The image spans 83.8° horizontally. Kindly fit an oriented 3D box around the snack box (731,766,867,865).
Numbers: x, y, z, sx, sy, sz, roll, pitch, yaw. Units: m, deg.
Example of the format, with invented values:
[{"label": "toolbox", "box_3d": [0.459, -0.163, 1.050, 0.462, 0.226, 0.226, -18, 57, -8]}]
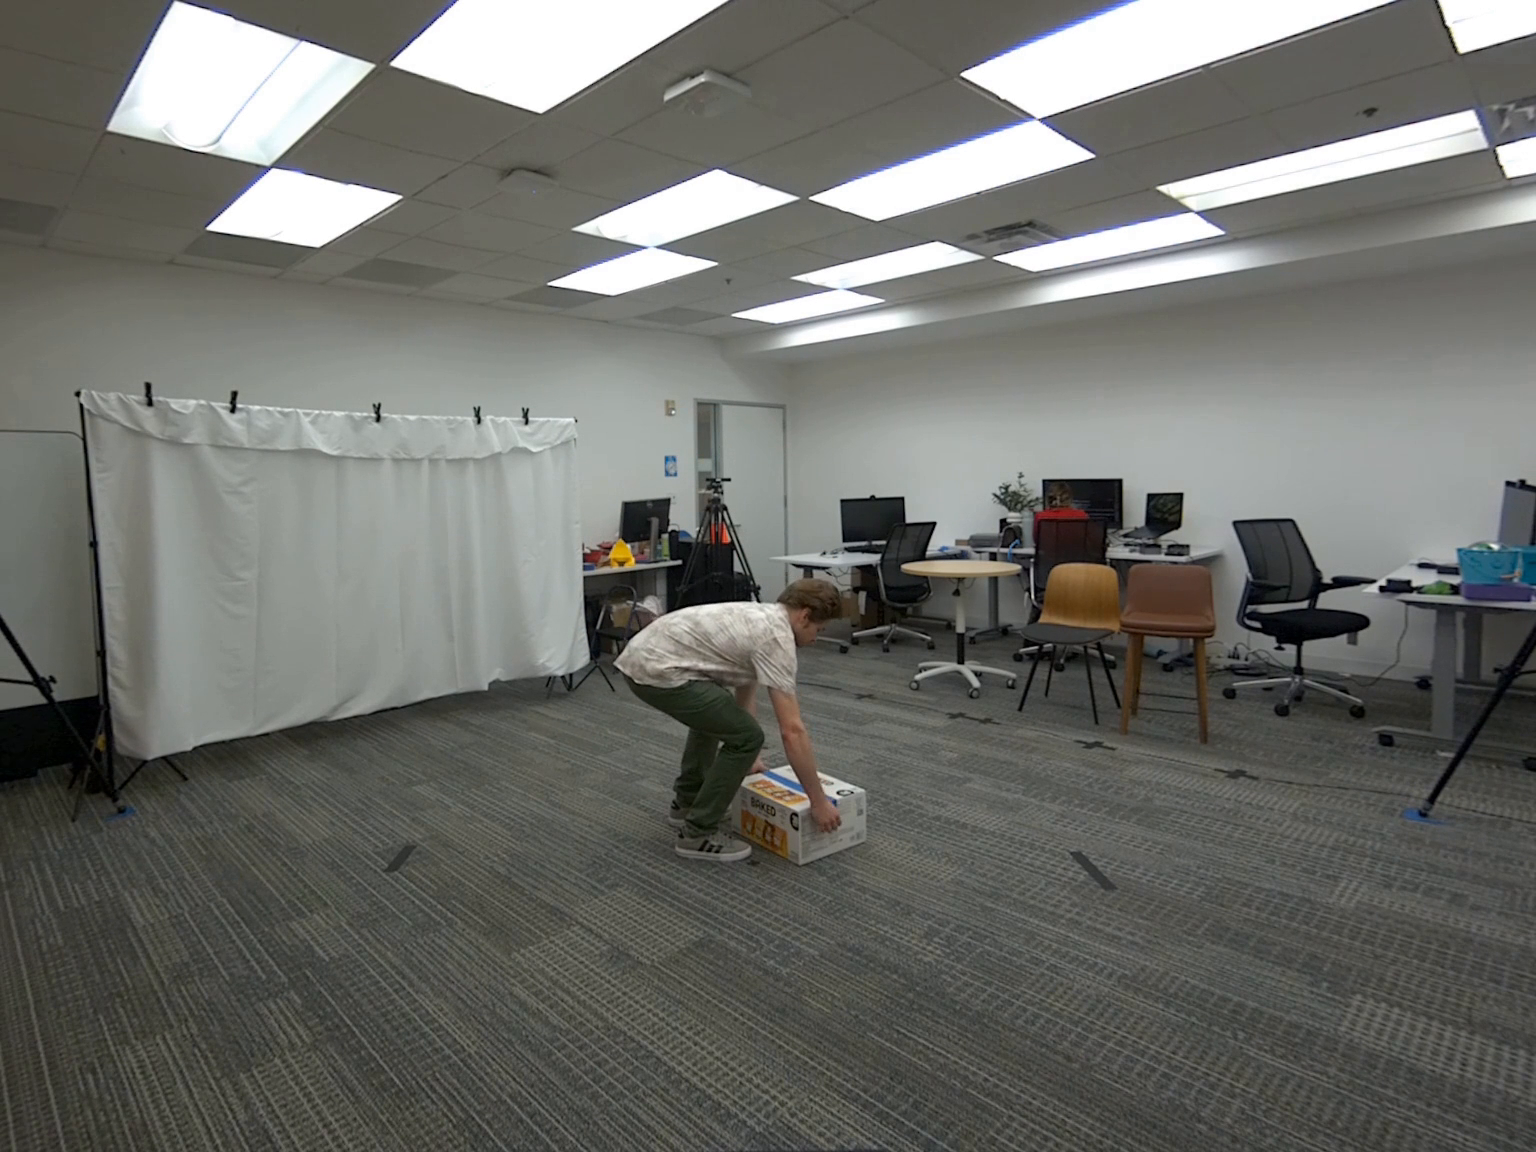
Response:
[{"label": "snack box", "box_3d": [0.118, 0.916, 3.318, 0.332, 0.205, 0.417, -6, 7, -37]}]
